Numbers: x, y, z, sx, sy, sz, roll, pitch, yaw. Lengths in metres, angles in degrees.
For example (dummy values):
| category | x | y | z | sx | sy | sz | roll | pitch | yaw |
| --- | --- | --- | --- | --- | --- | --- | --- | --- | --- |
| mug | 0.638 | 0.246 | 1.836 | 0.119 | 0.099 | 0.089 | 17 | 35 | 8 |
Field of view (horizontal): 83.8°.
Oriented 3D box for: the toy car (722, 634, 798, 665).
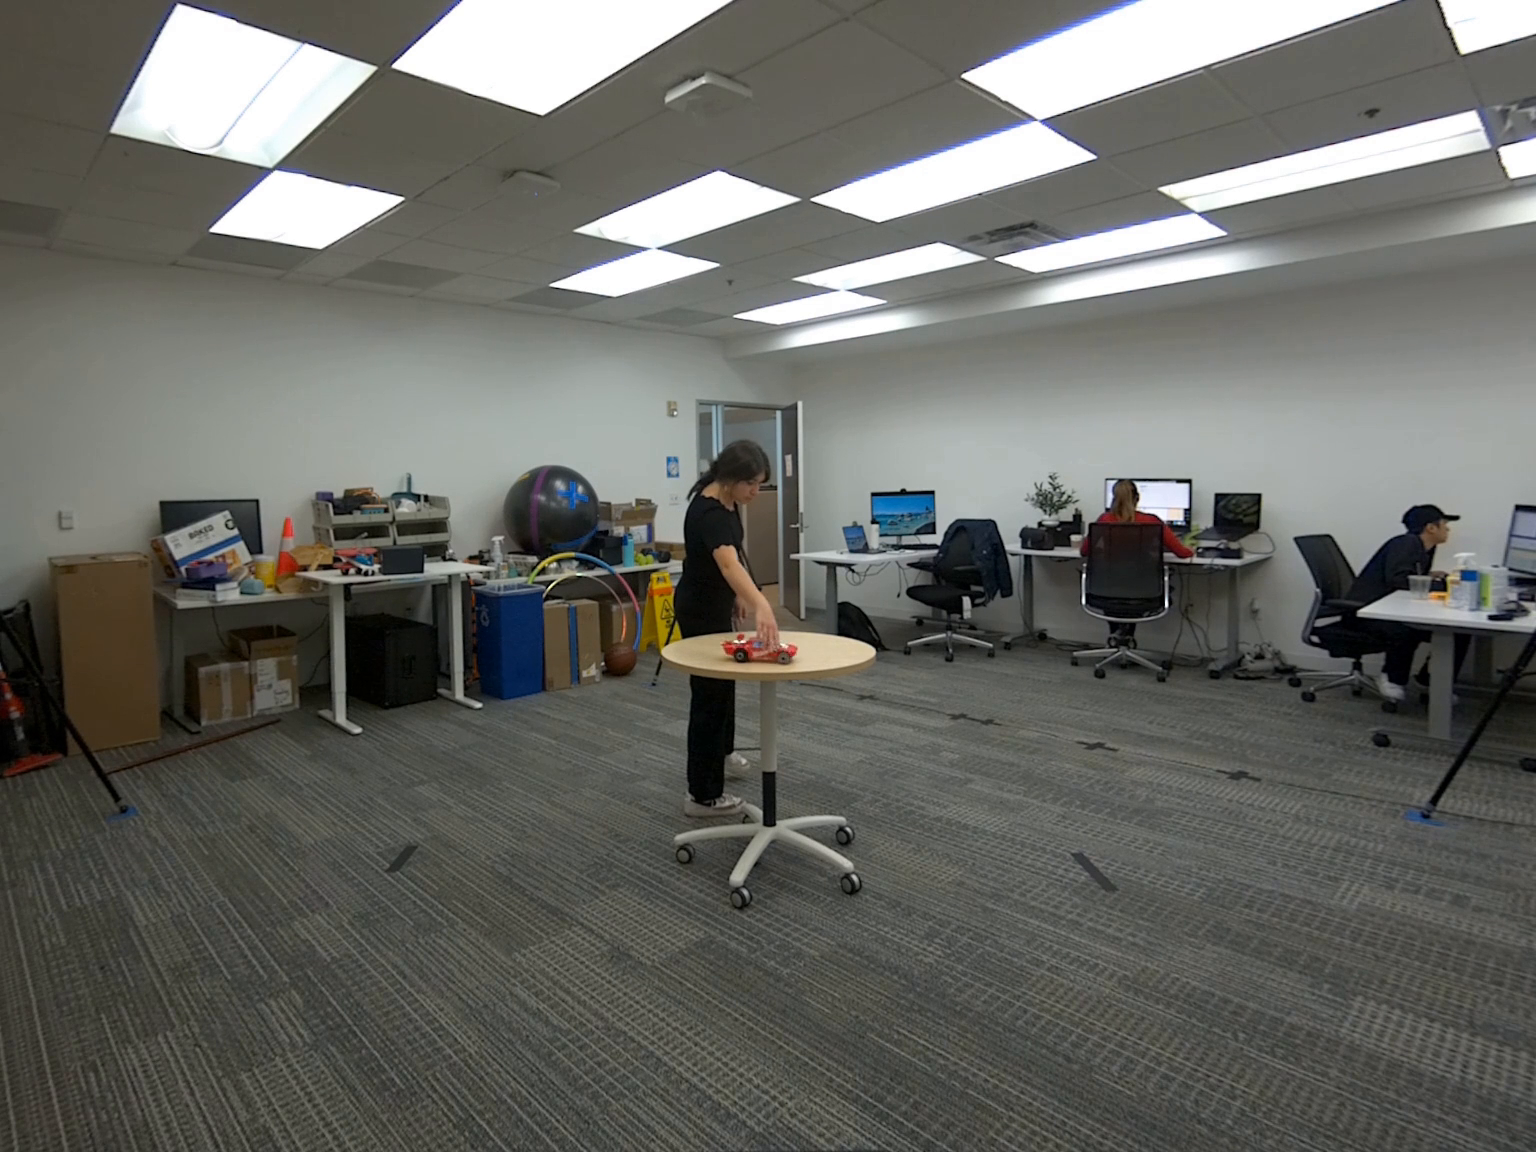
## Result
| category | x | y | z | sx | sy | sz | roll | pitch | yaw |
| --- | --- | --- | --- | --- | --- | --- | --- | --- | --- |
| toy car | -0.028 | 0.254 | 2.879 | 0.257 | 0.083 | 0.129 | 11 | 5 | 7 |
